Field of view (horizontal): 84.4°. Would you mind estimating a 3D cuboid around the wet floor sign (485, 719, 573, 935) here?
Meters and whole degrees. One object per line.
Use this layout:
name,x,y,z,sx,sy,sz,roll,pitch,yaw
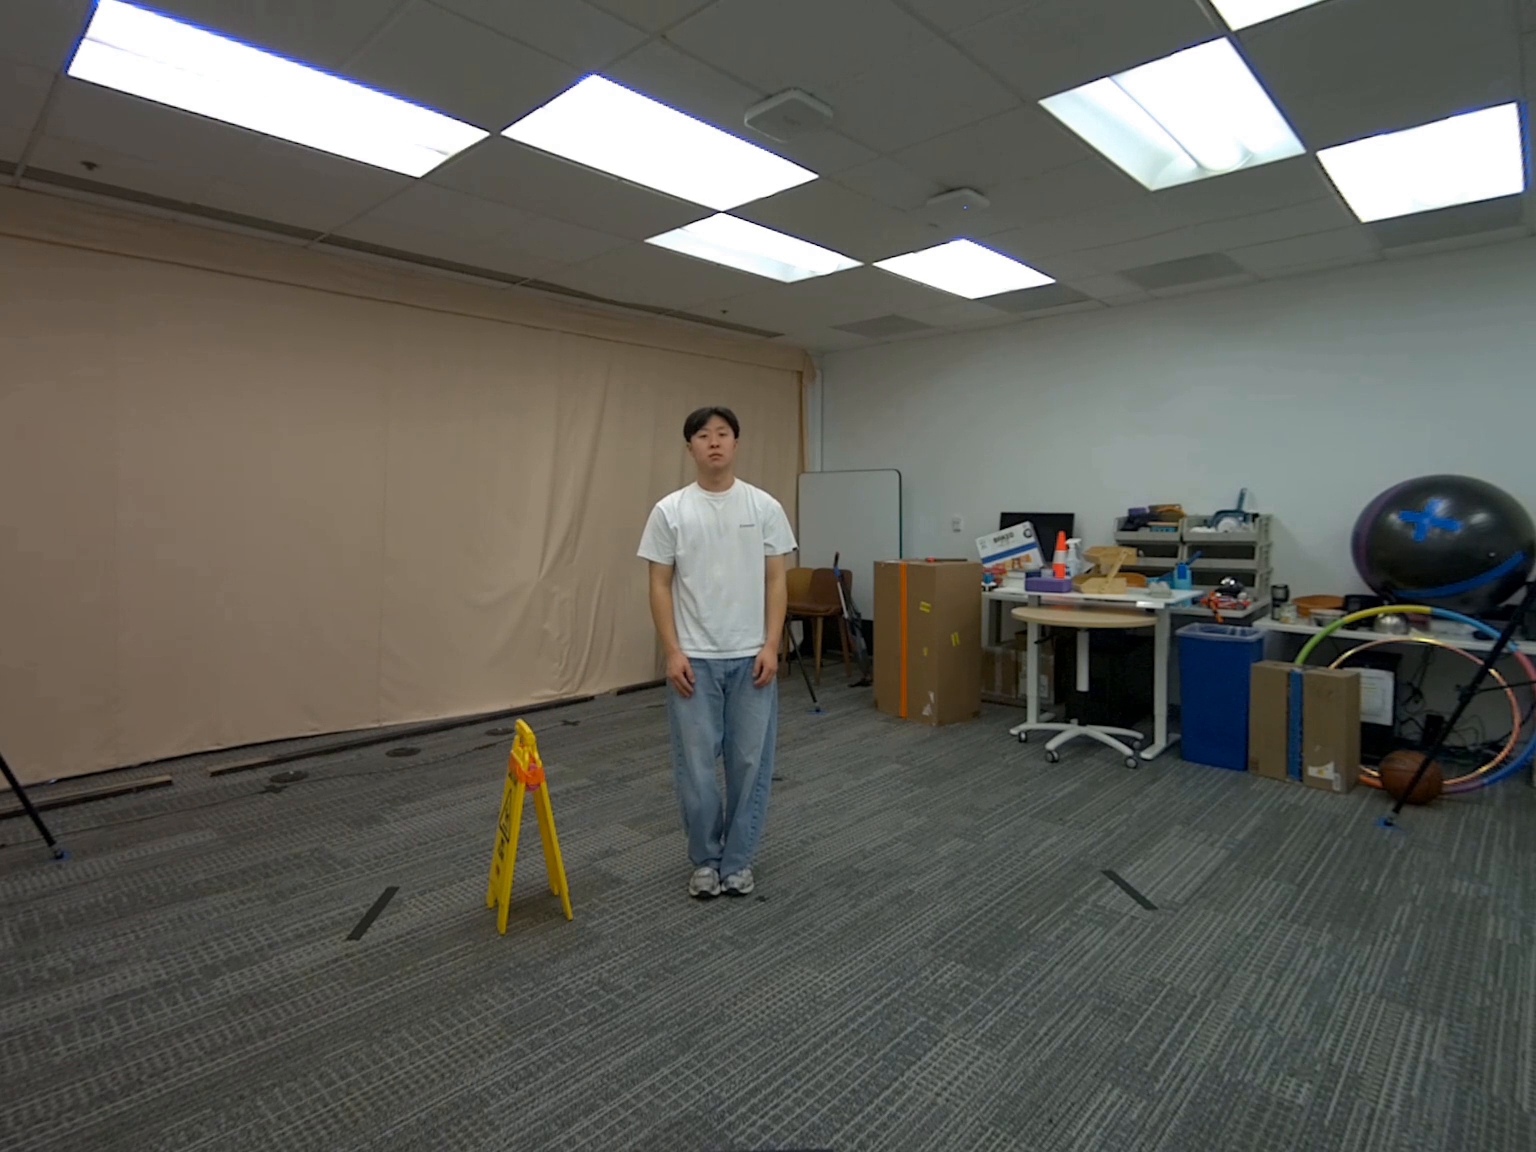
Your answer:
wet floor sign,-0.833,0.832,2.889,0.283,0.645,0.289,-2,3,-25
